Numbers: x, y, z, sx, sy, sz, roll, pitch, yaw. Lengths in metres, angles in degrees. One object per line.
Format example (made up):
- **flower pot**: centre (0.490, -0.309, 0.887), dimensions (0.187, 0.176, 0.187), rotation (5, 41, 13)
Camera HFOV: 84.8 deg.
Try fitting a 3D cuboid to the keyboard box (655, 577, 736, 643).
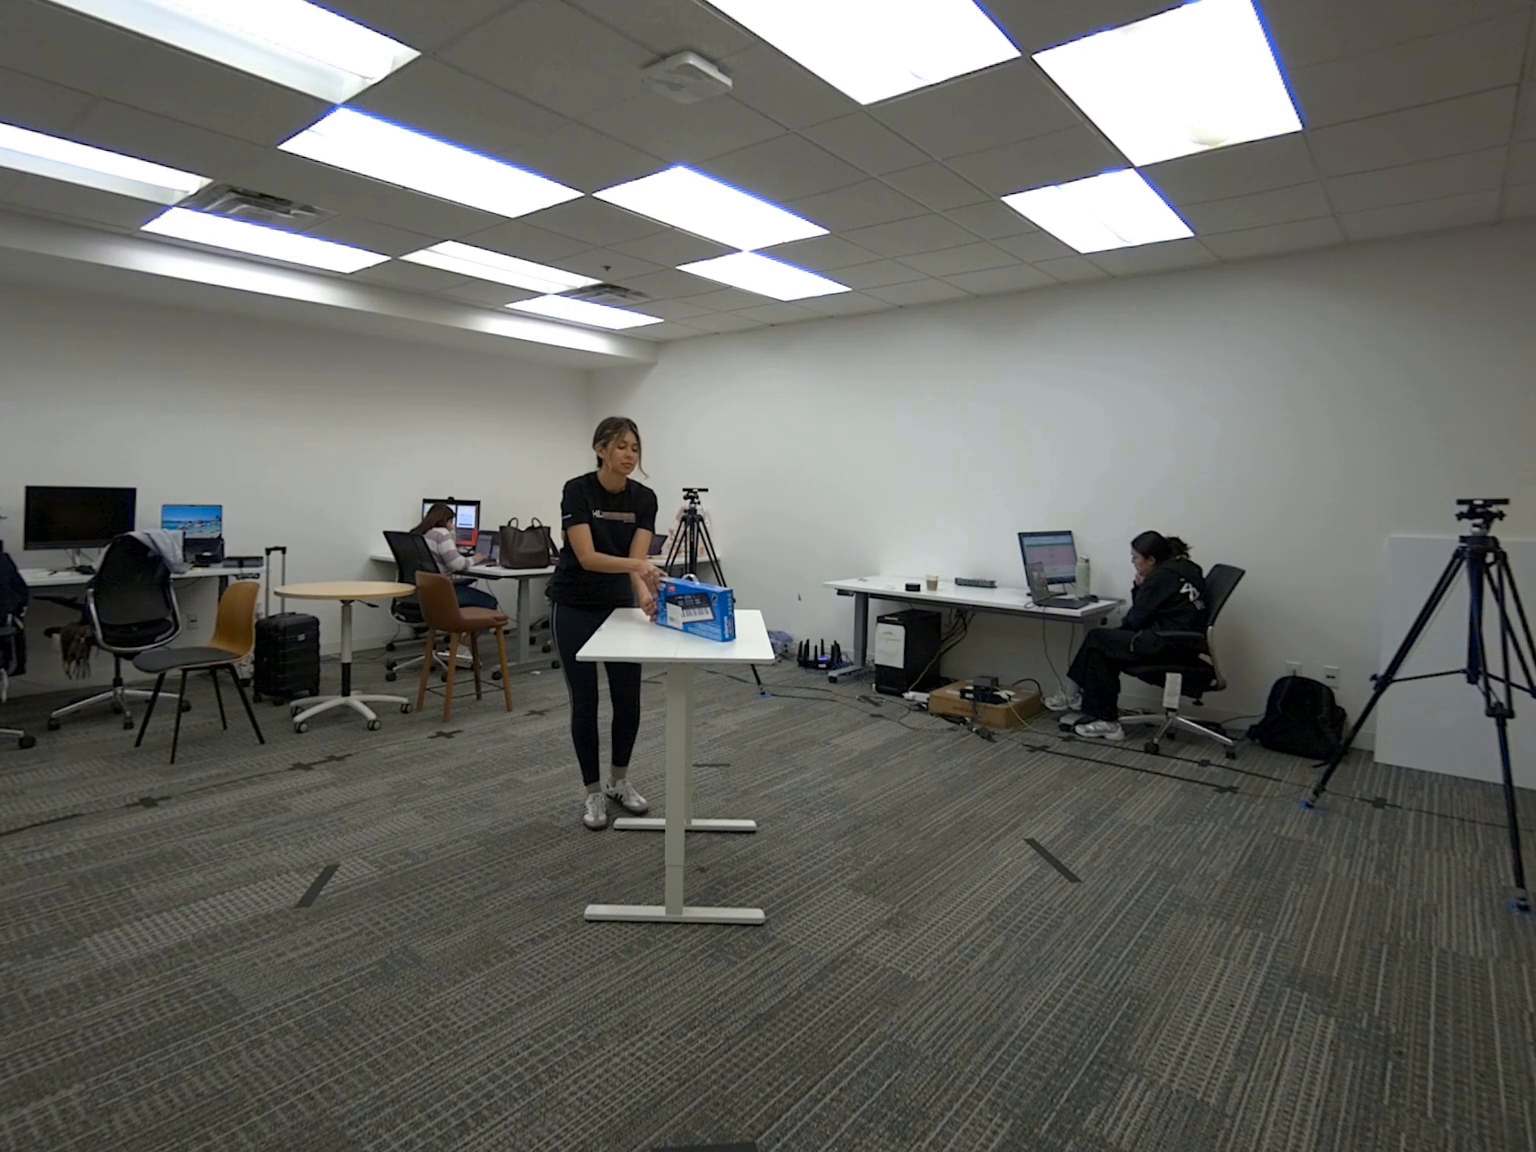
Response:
- **keyboard box**: centre (-0.278, 0.111, 2.997), dimensions (0.057, 0.175, 0.452), rotation (-7, 9, -37)
